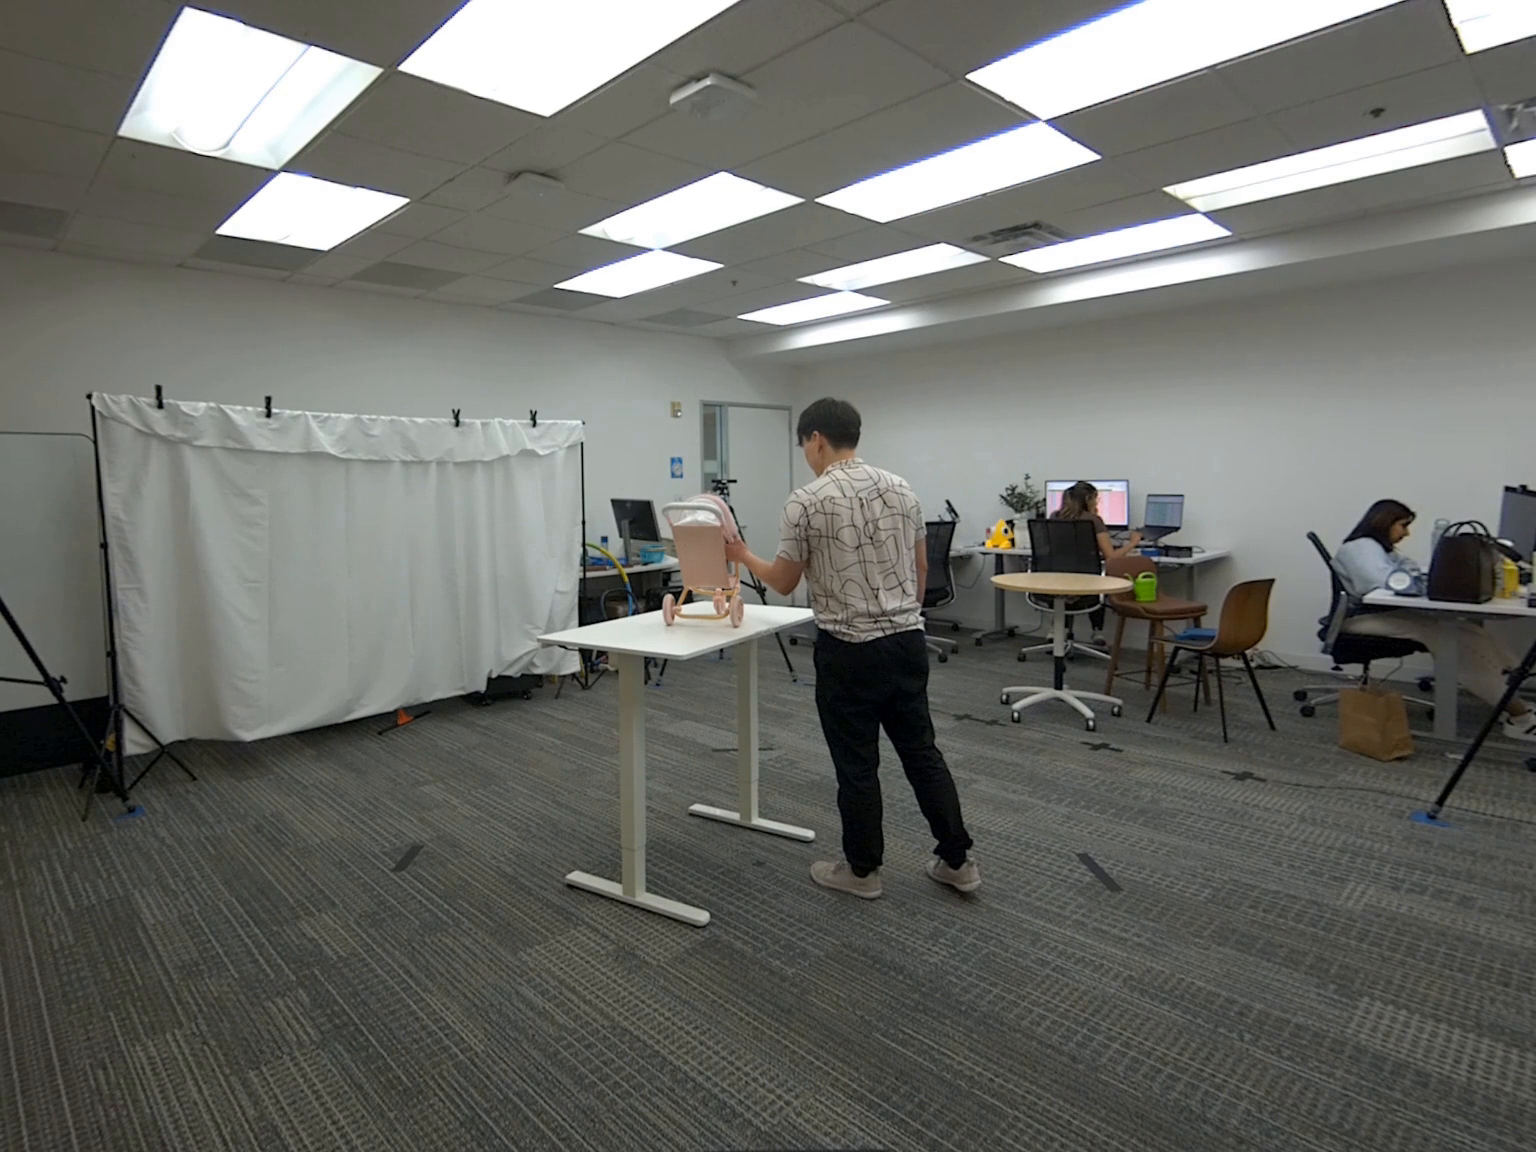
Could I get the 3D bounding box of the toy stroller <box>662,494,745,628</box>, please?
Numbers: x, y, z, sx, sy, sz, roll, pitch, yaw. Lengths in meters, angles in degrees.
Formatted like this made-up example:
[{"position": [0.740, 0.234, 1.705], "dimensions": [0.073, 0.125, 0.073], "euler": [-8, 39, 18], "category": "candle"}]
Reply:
[{"position": [-0.214, -0.054, 3.085], "dimensions": [0.286, 0.526, 0.341], "euler": [2, 19, 16], "category": "toy stroller"}]
